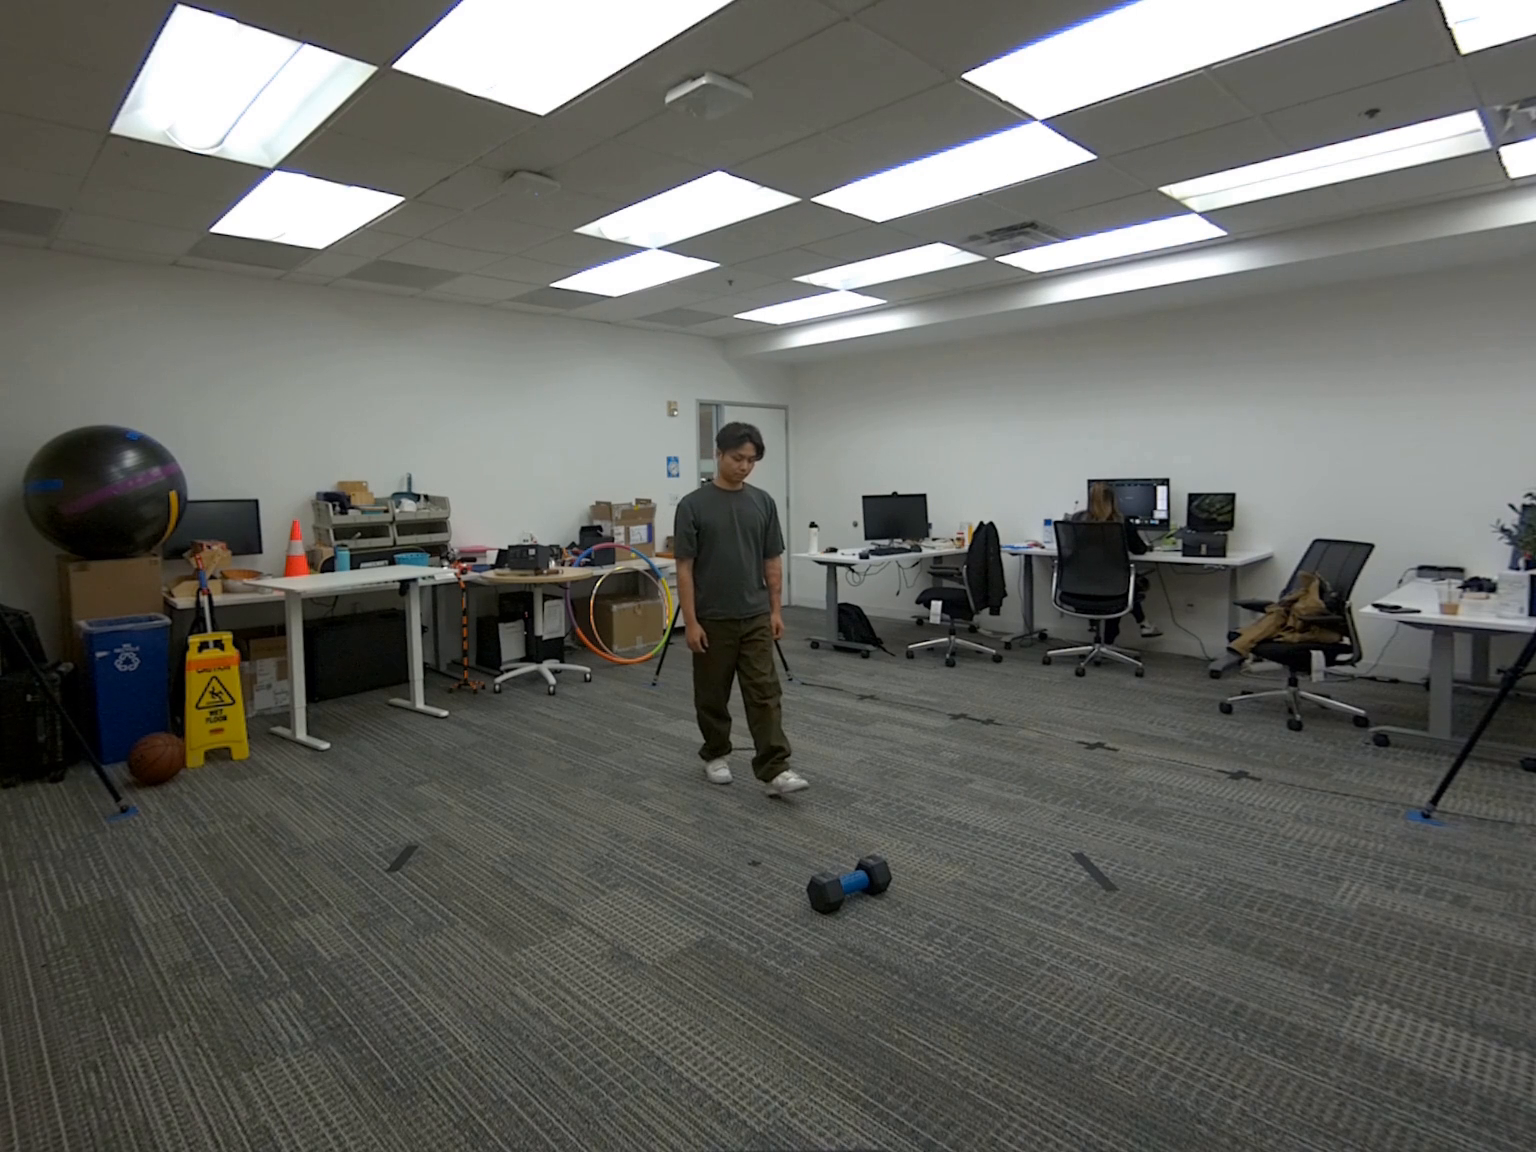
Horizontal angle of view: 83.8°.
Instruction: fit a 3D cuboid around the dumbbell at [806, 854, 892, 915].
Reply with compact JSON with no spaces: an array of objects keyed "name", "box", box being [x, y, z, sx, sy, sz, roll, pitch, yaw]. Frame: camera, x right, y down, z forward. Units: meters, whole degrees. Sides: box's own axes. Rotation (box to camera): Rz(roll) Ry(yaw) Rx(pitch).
[{"name":"dumbbell","box":[0.277,1.019,2.824,0.286,0.121,0.113,-5,37,-35]}]
